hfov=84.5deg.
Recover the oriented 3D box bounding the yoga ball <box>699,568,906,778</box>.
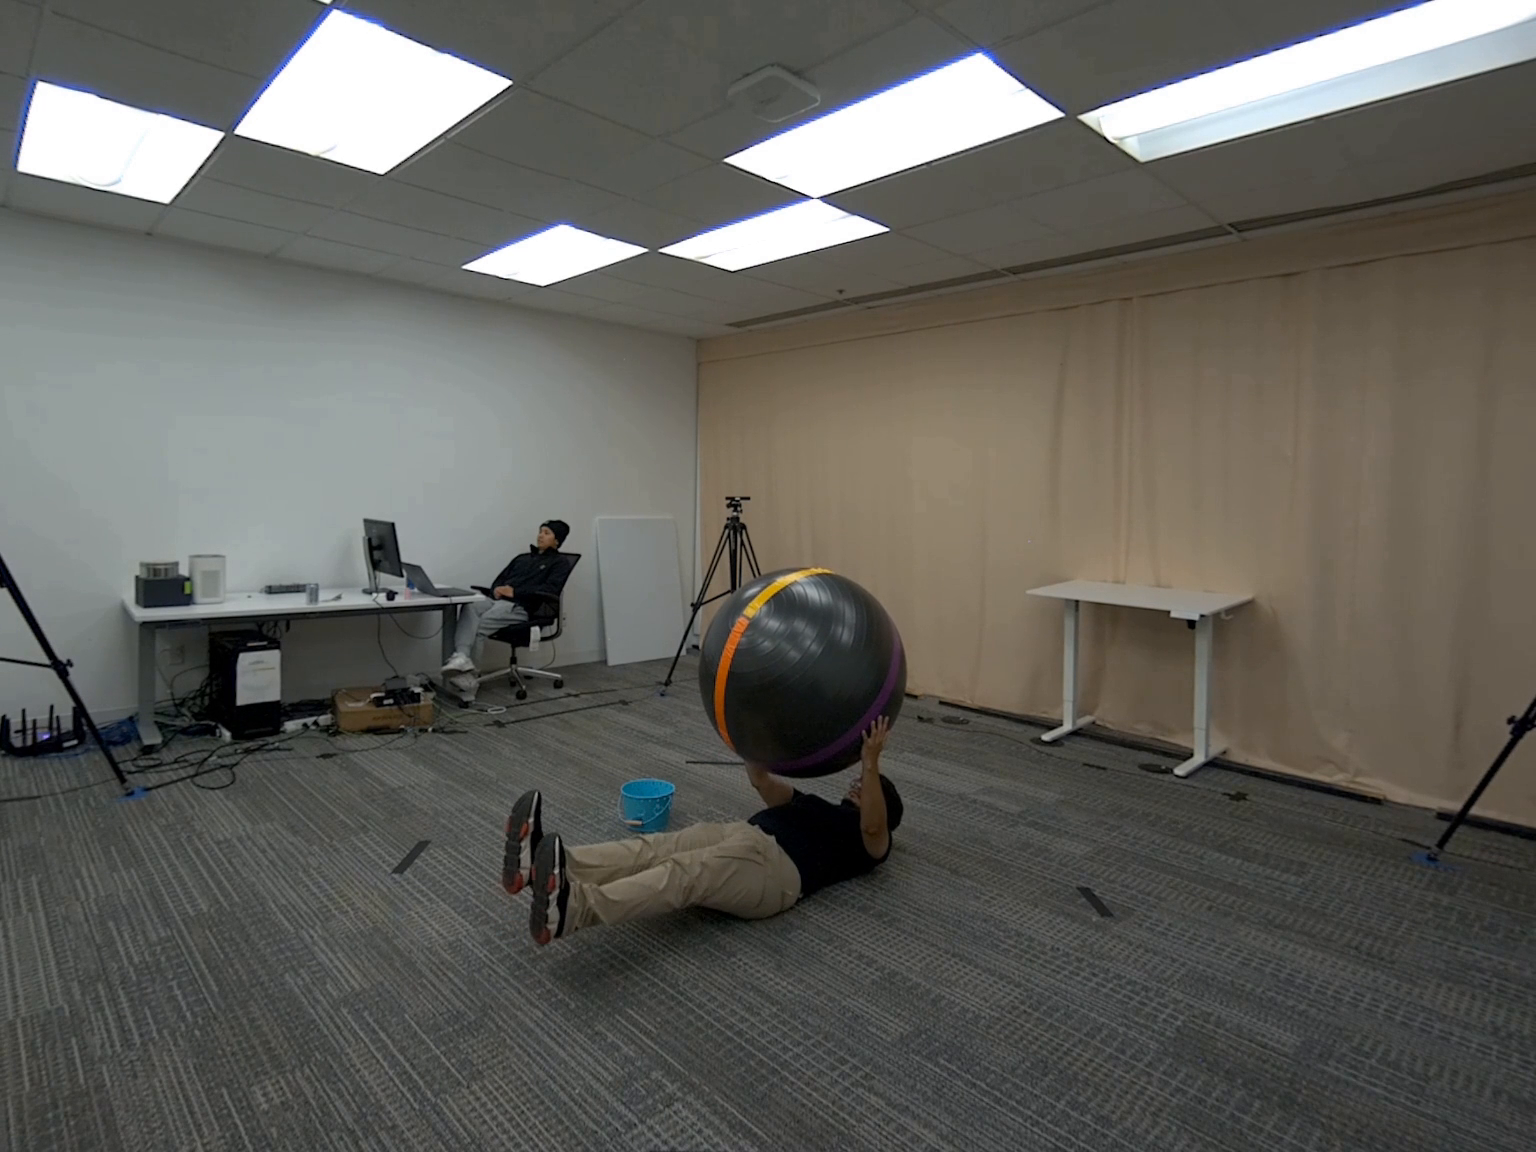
[{"bbox_3d":[0.120,0.356,3.074,0.757,0.755,0.761,1,5,-1],"label":"yoga ball"}]
